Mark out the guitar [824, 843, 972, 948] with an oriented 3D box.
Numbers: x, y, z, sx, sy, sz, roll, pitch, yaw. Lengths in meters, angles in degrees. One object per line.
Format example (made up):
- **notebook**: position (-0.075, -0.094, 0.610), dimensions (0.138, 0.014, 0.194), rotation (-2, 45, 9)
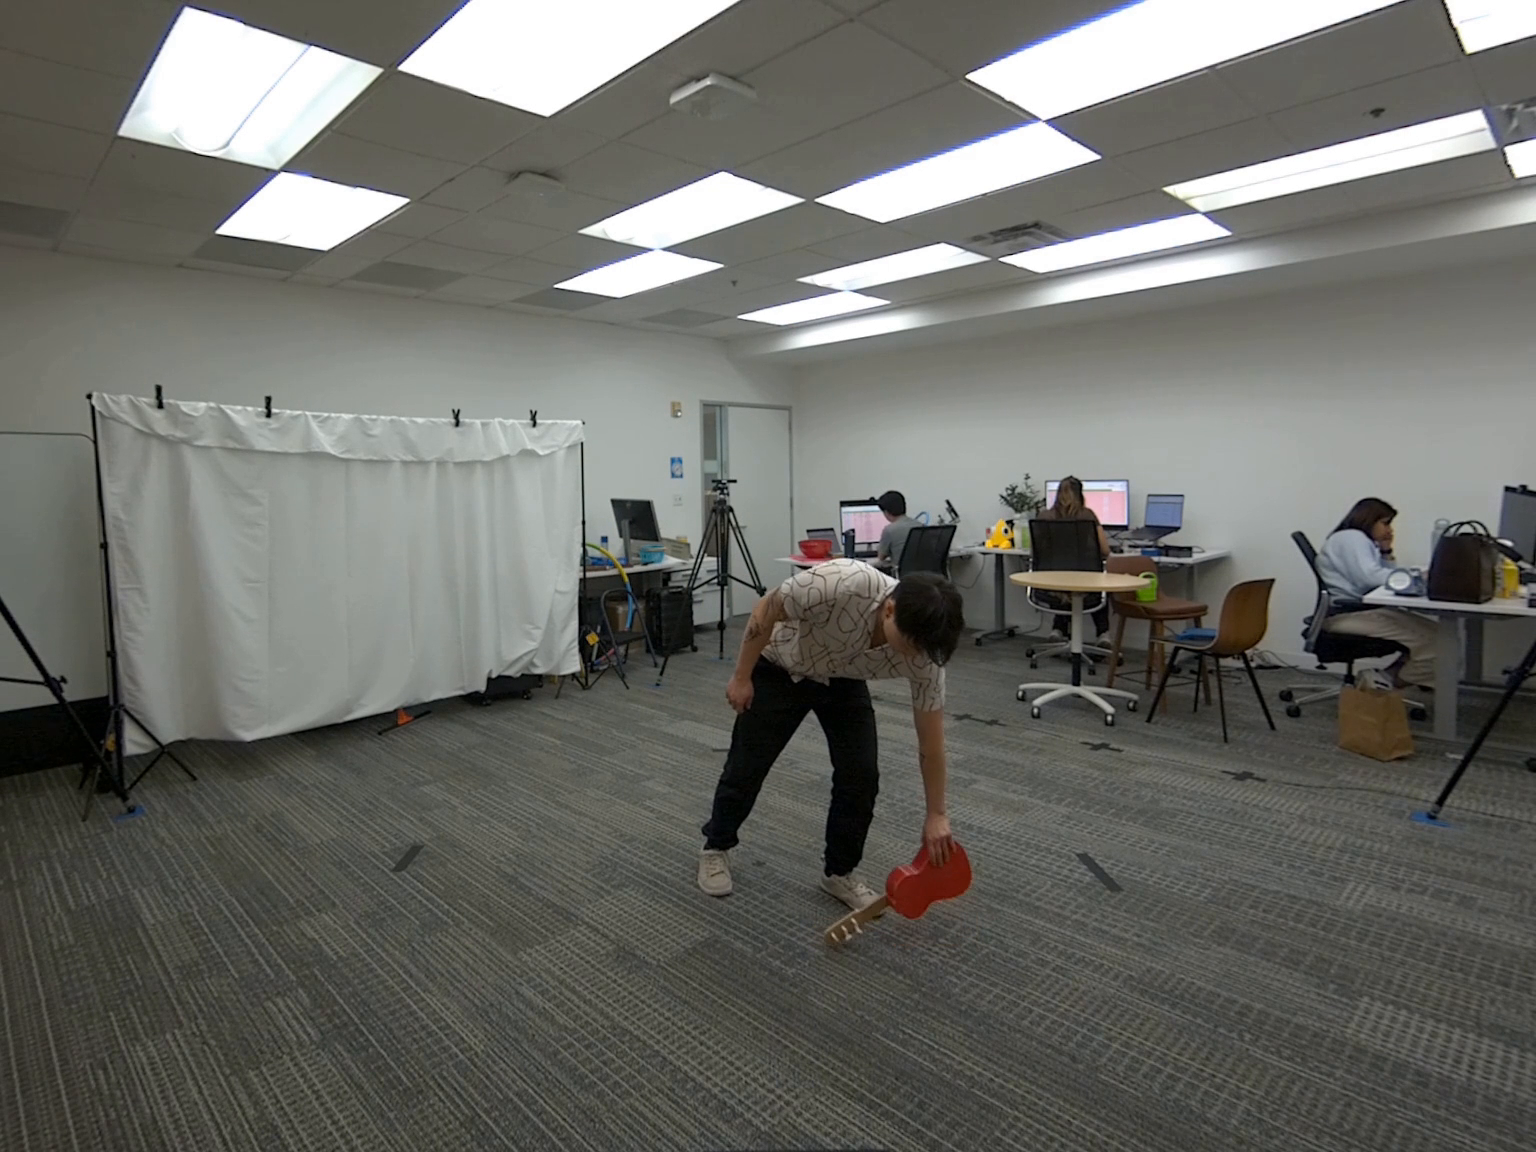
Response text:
- **guitar**: position (0.409, 0.990, 2.590), dimensions (0.496, 0.189, 0.072), rotation (-36, 17, -13)
